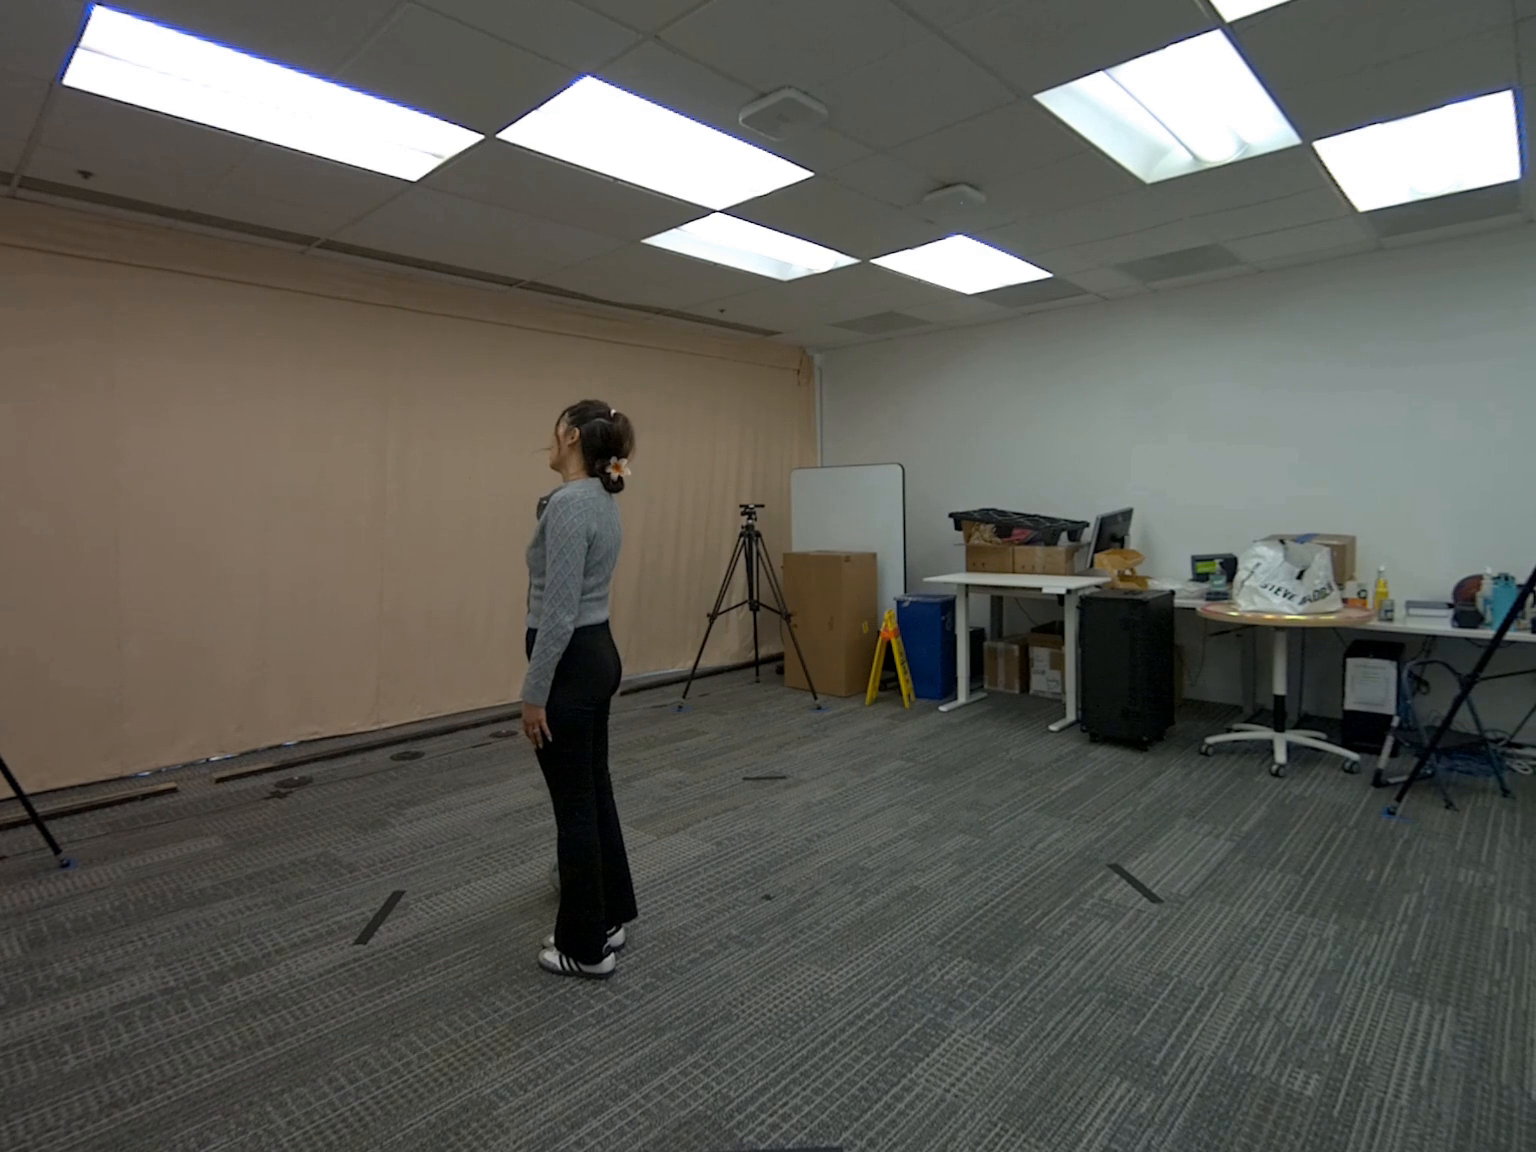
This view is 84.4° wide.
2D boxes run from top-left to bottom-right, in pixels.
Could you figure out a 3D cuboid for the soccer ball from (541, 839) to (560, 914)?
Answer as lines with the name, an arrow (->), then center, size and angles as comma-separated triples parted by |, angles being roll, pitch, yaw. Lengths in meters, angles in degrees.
soccer ball -> -0.696, 1.065, 3.021 | 0.187, 0.187, 0.188 | -1, 4, -2
